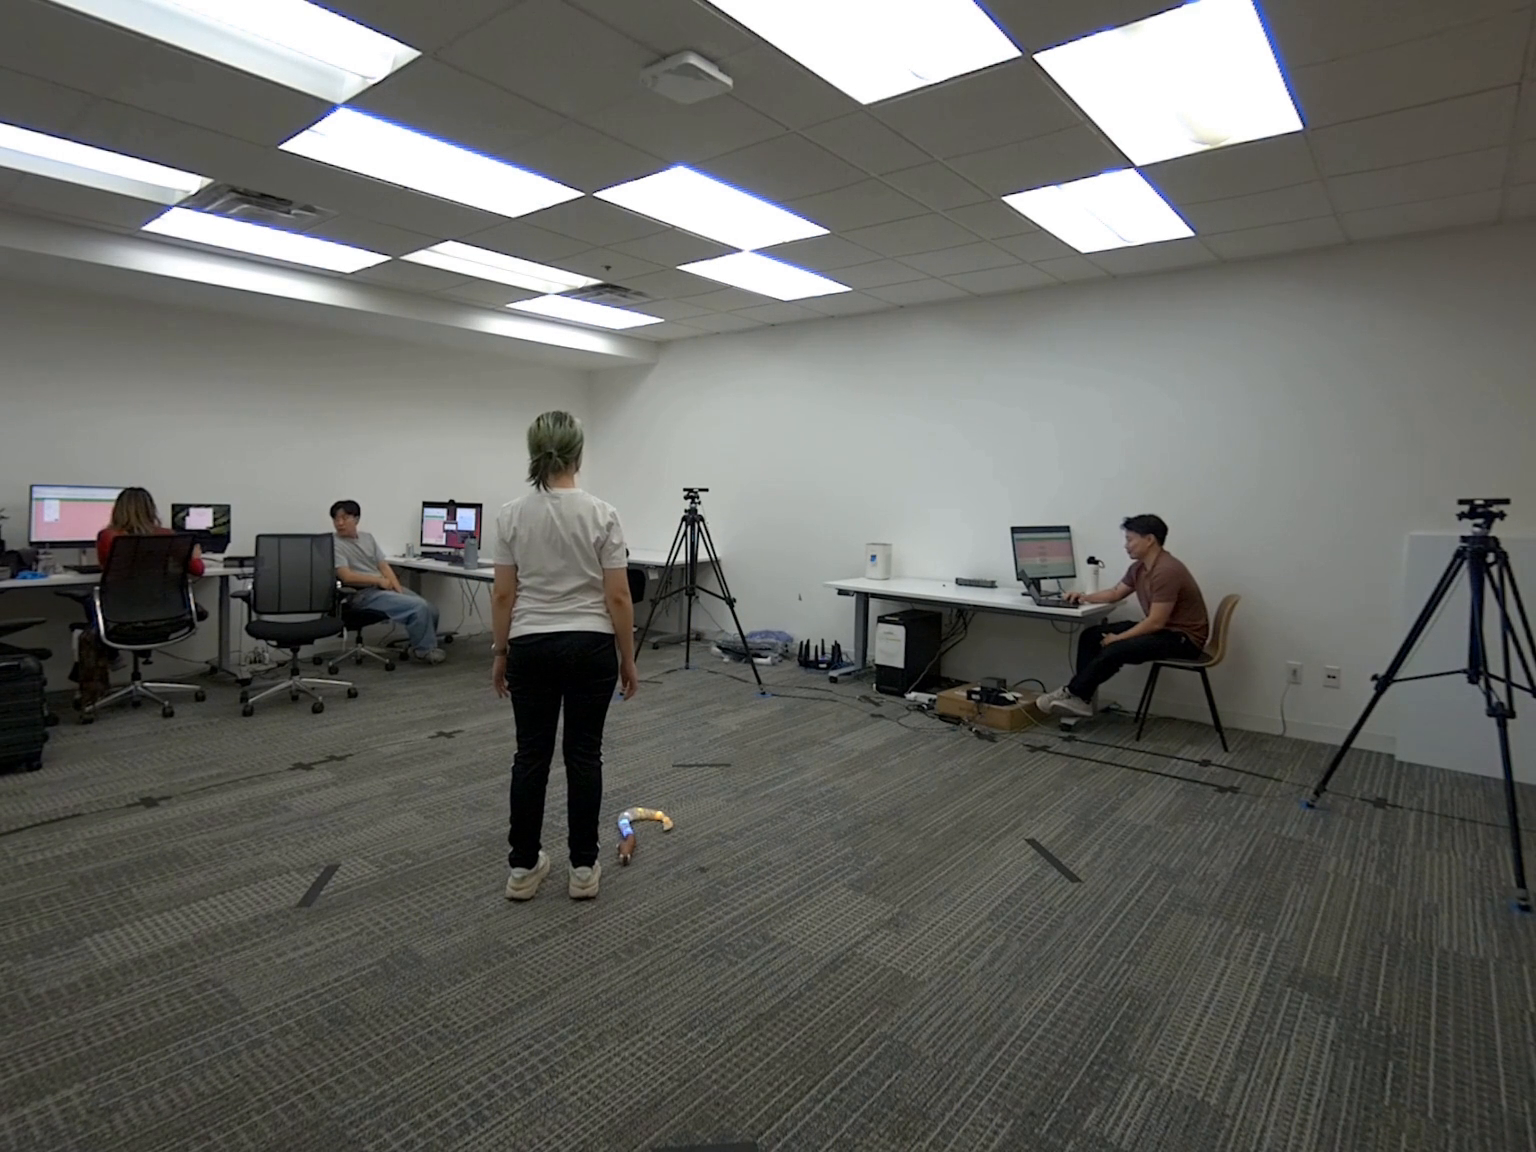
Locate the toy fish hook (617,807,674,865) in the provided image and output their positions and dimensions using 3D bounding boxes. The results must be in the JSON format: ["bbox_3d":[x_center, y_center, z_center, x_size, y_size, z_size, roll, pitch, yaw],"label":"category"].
[{"bbox_3d":[-0.503,1.015,3.366,0.224,0.048,0.510,-1,6,-4],"label":"toy fish hook"}]
